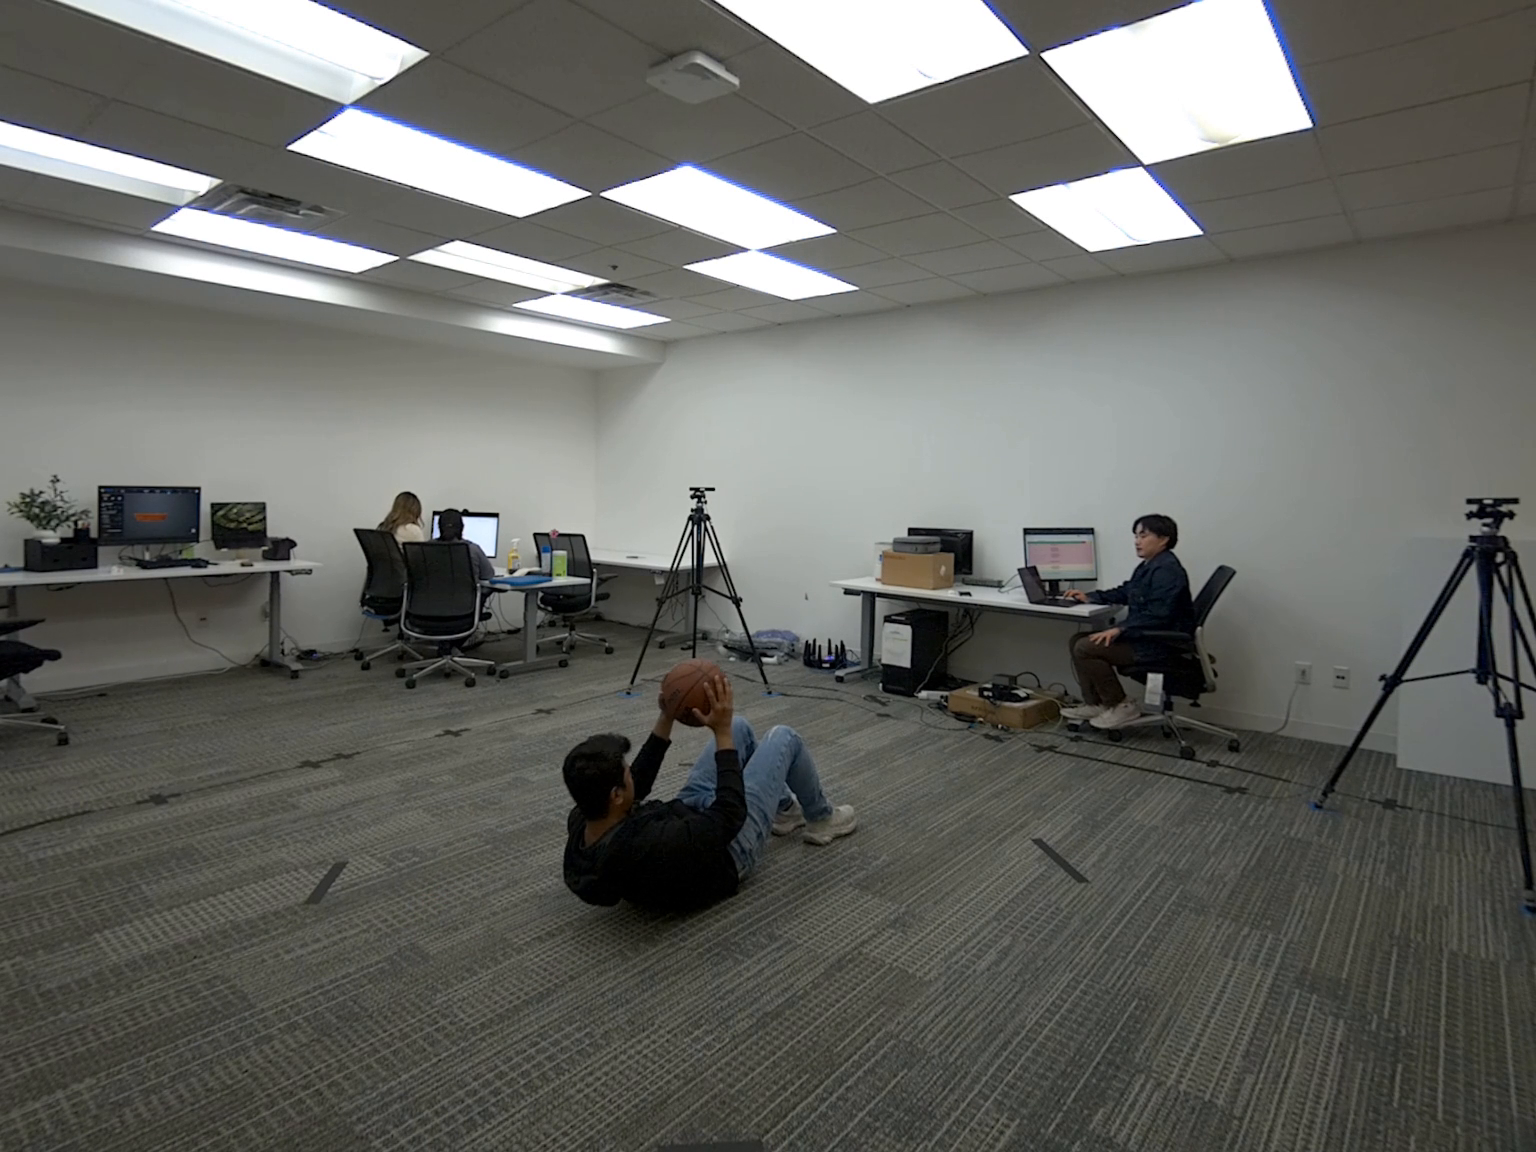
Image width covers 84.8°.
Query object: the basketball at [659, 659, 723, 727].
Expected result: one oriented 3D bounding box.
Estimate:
[{"bbox_3d":[-0.266,0.412,2.987,0.235,0.235,0.237,1,4,-2],"label":"basketball"}]
